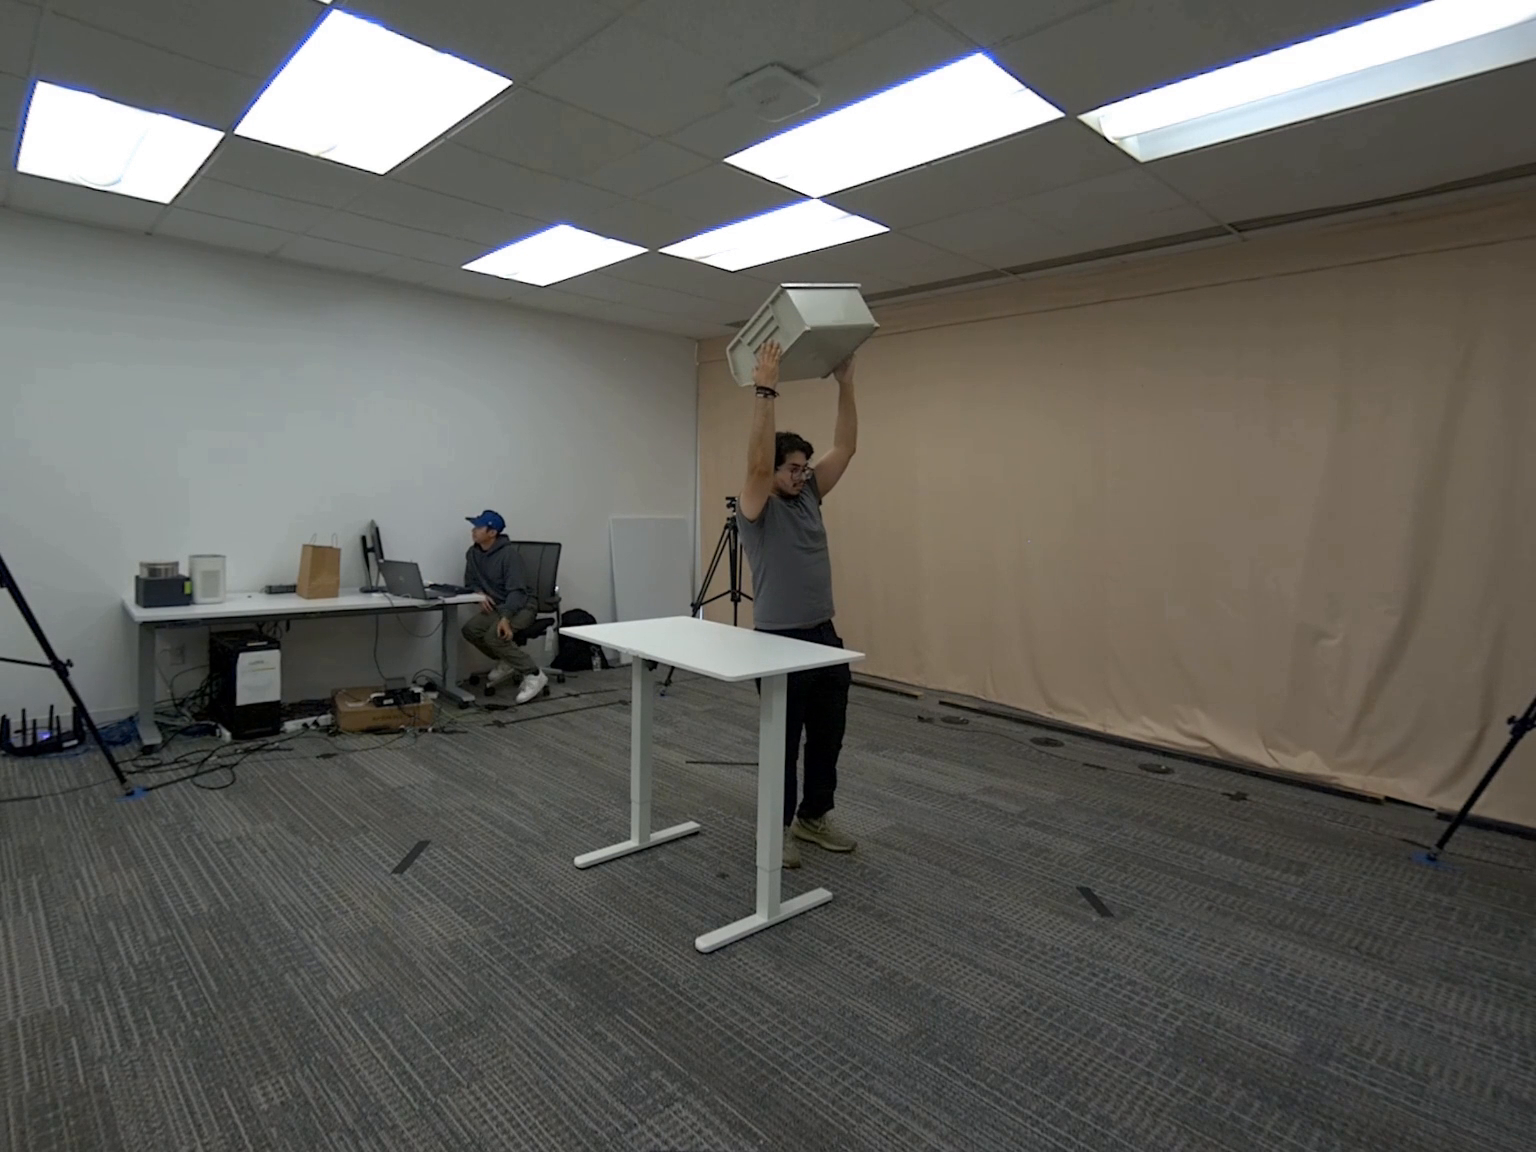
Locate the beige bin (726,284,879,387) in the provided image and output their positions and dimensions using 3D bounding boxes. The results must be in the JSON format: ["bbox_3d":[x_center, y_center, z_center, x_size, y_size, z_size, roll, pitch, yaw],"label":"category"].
[{"bbox_3d":[0.121,-0.843,3.007,0.415,0.191,0.379,-18,-14,-43],"label":"beige bin"}]
